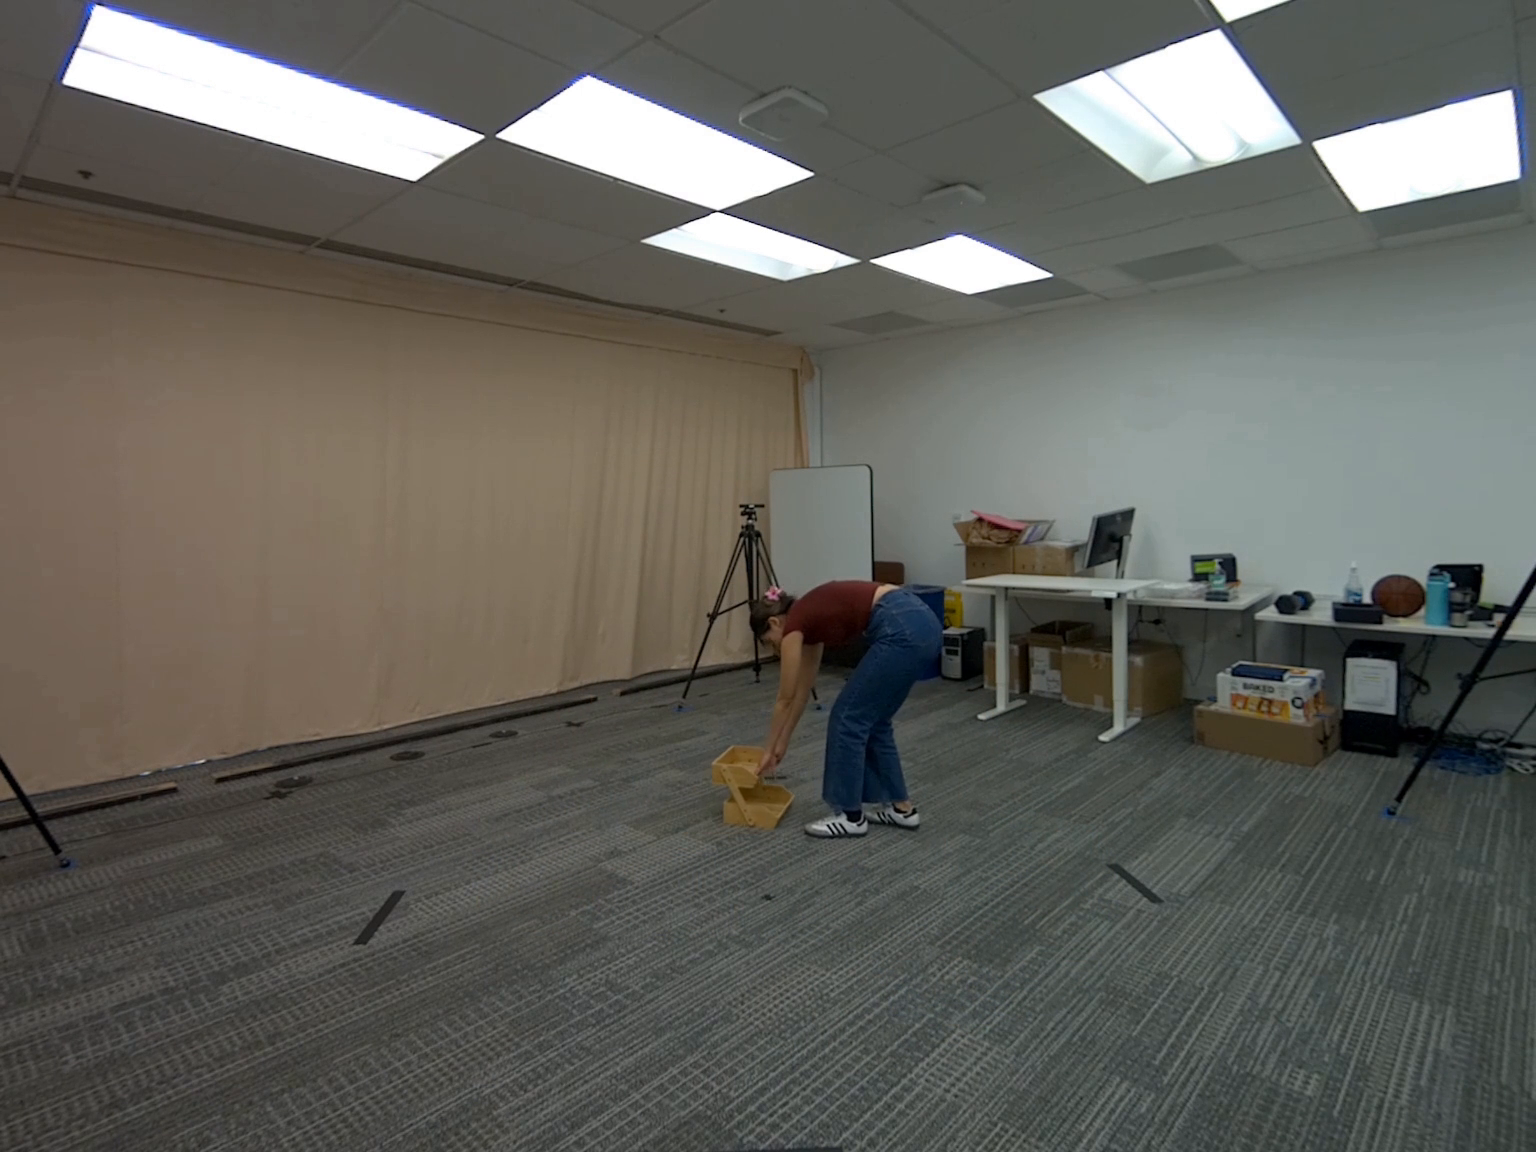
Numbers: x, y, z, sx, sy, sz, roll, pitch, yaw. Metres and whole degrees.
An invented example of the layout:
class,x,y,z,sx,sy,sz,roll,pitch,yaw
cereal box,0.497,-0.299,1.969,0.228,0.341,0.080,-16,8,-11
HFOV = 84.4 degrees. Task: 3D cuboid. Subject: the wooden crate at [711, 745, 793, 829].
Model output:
class,x,y,z,sx,sy,sz,roll,pitch,yaw
wooden crate,-0.061,0.941,3.798,0.308,0.273,0.319,0,4,17
